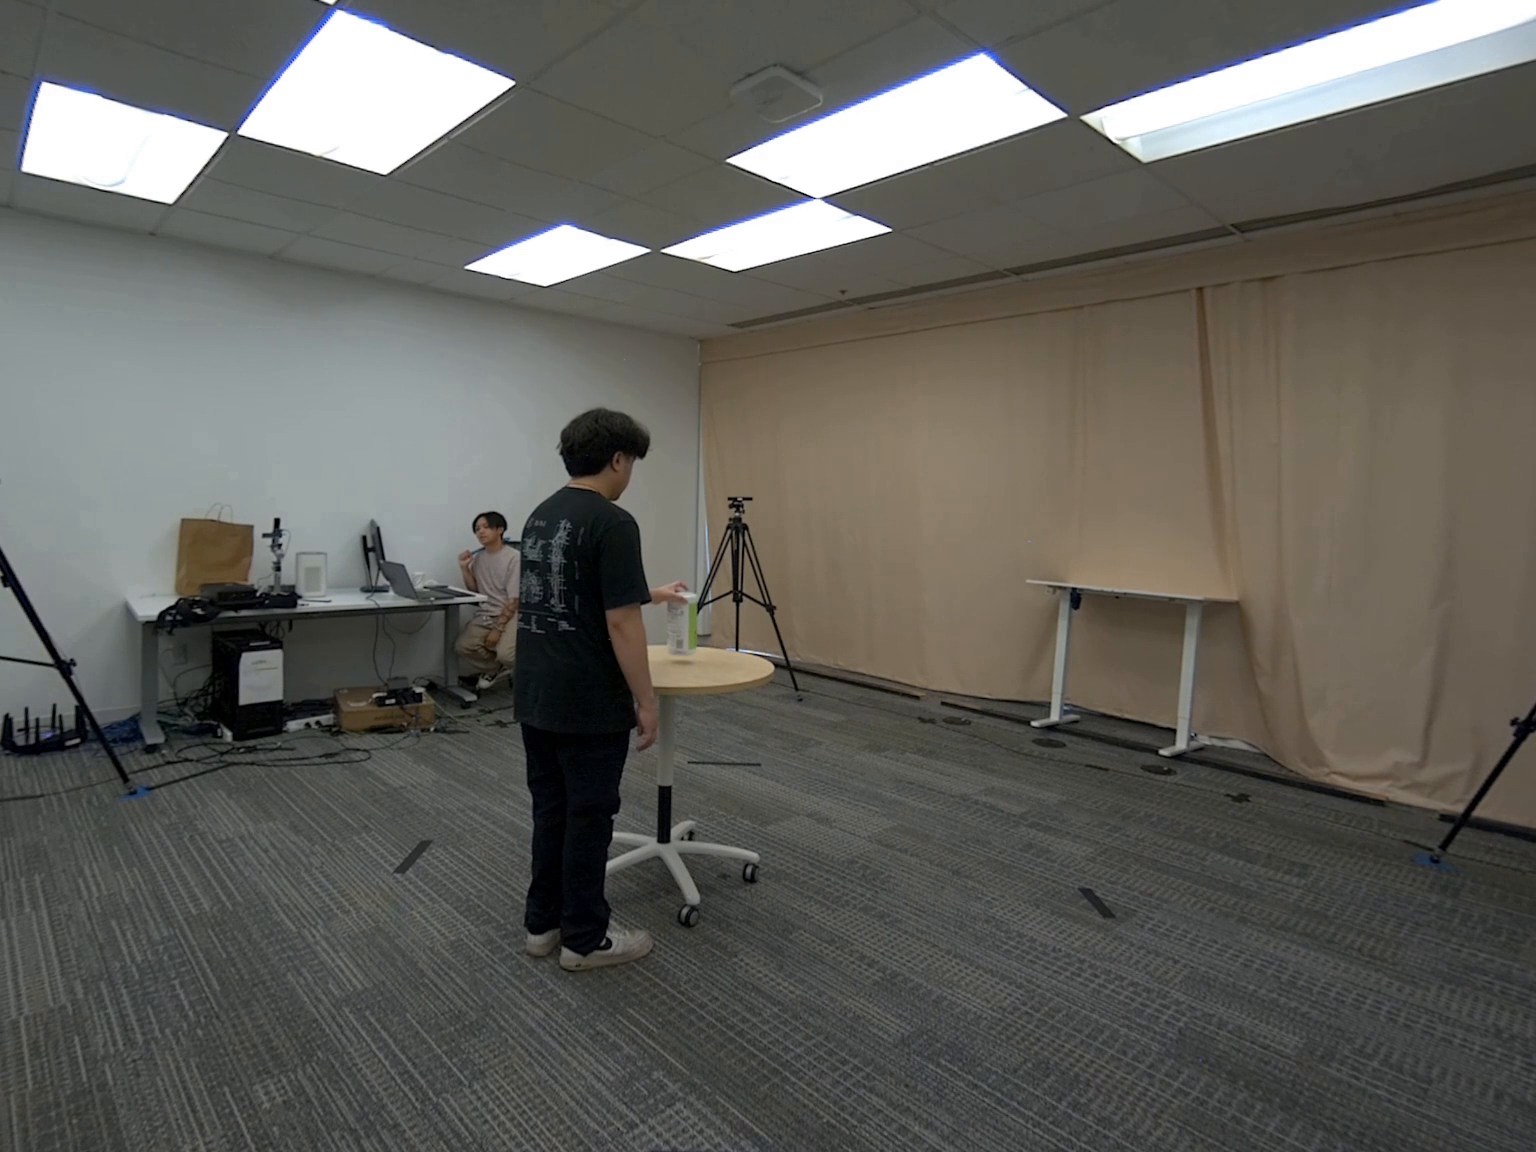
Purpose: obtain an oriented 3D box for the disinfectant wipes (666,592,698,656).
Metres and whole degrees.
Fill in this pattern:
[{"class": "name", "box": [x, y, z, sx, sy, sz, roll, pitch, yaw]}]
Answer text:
[{"class": "disinfectant wipes", "box": [-0.316, 0.176, 3.041, 0.118, 0.216, 0.118, 2, 6, -2]}]
